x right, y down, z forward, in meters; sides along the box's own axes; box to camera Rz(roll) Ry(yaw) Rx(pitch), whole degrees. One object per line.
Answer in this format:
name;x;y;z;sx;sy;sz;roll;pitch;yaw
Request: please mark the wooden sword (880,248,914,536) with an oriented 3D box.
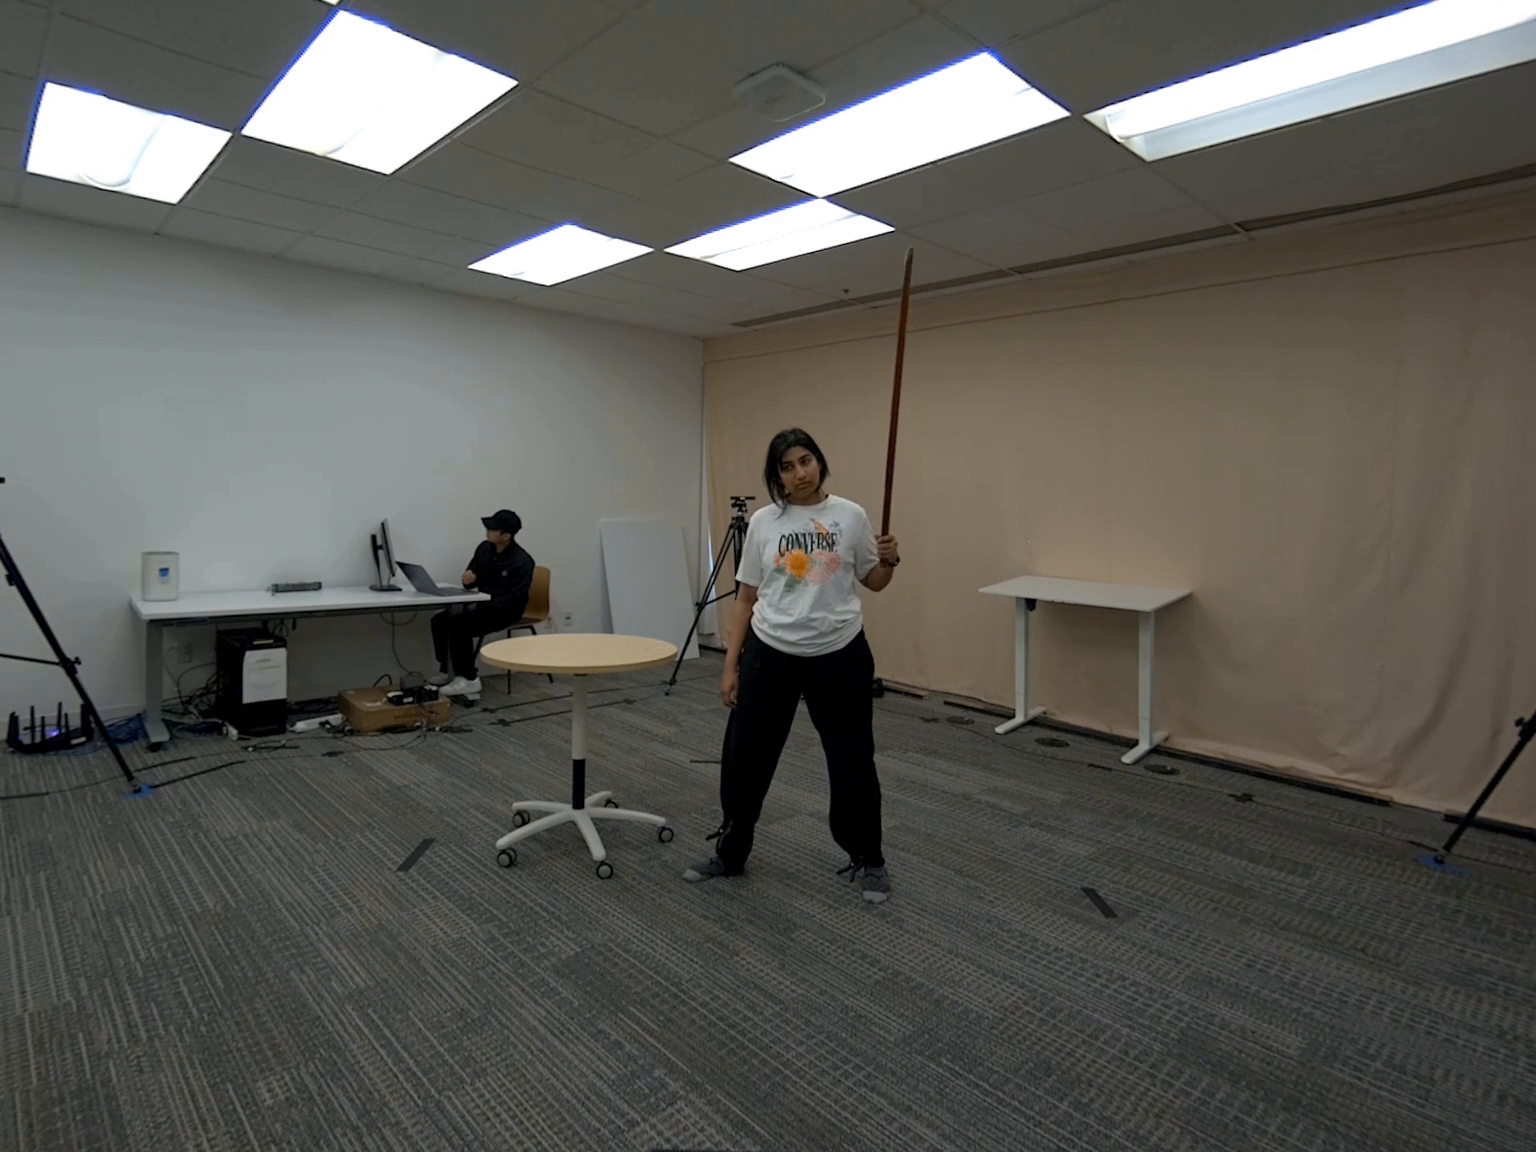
wooden sword;0.397;-0.486;2.617;0.050;1.008;0.025;-10;28;-25
